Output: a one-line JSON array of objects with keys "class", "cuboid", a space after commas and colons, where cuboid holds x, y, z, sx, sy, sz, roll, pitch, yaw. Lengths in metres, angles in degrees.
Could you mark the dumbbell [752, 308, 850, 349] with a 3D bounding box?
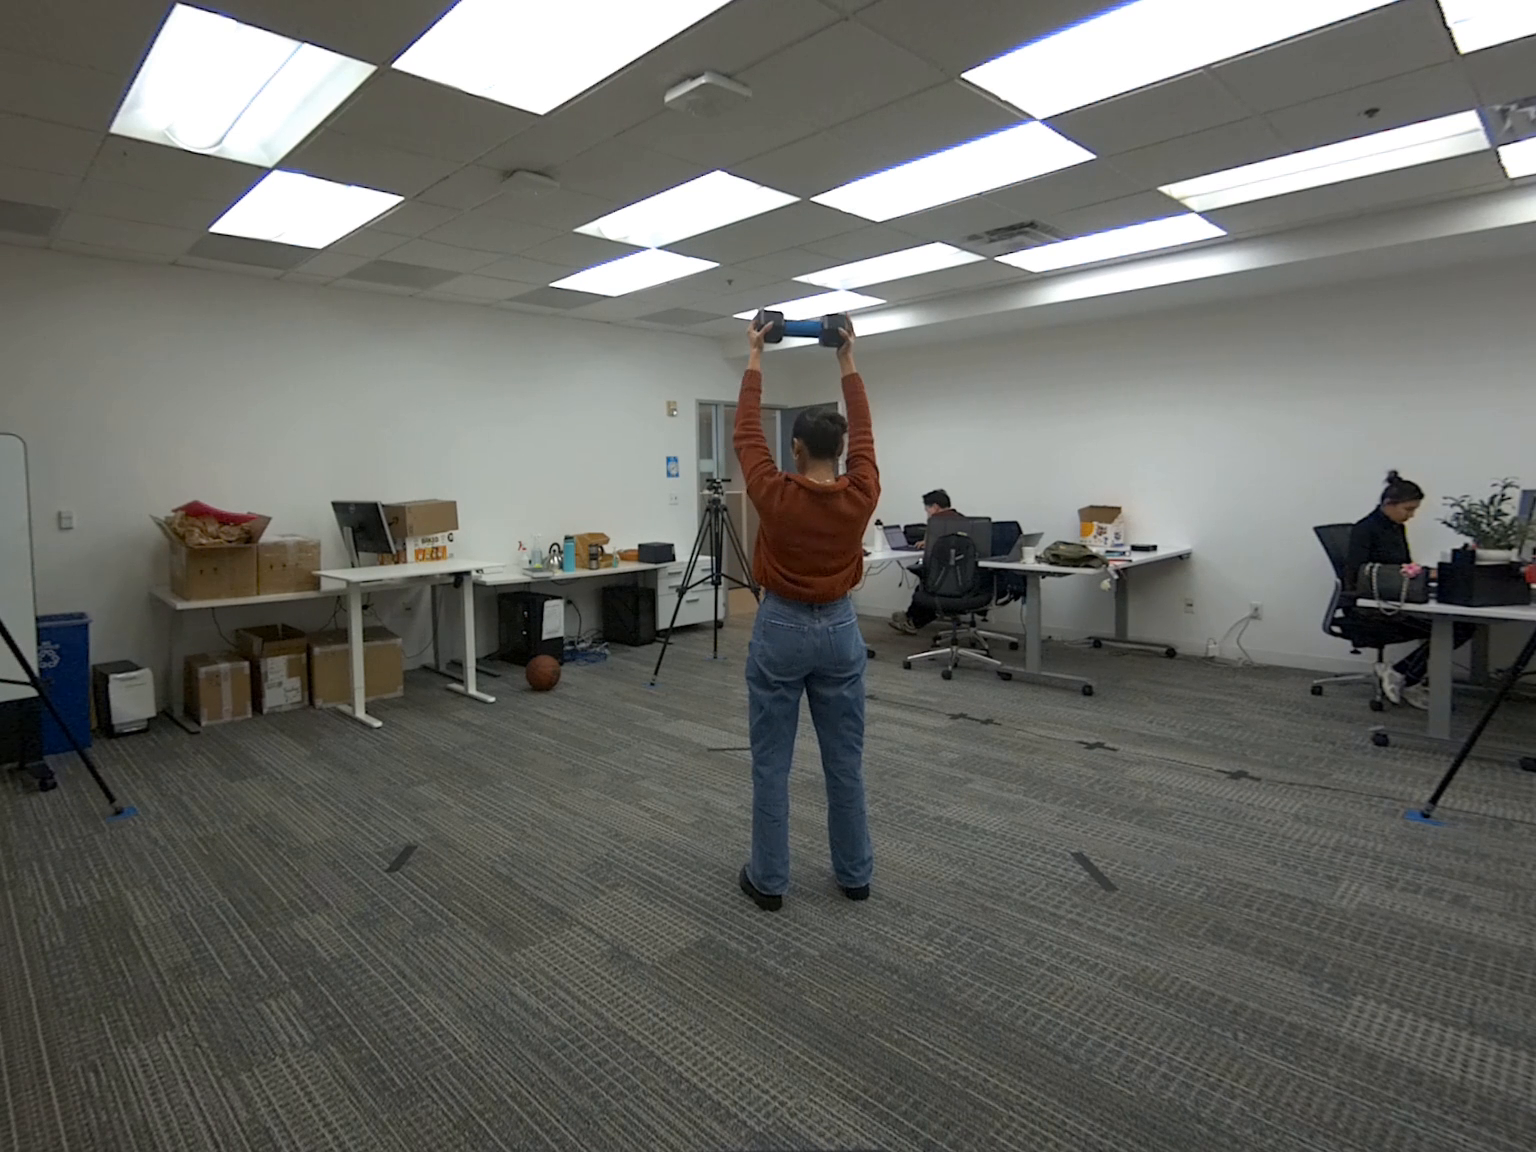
[{"class": "dumbbell", "cuboid": [0.121, -0.815, 2.868, 0.292, 0.120, 0.112, 1, 42, -4]}]
